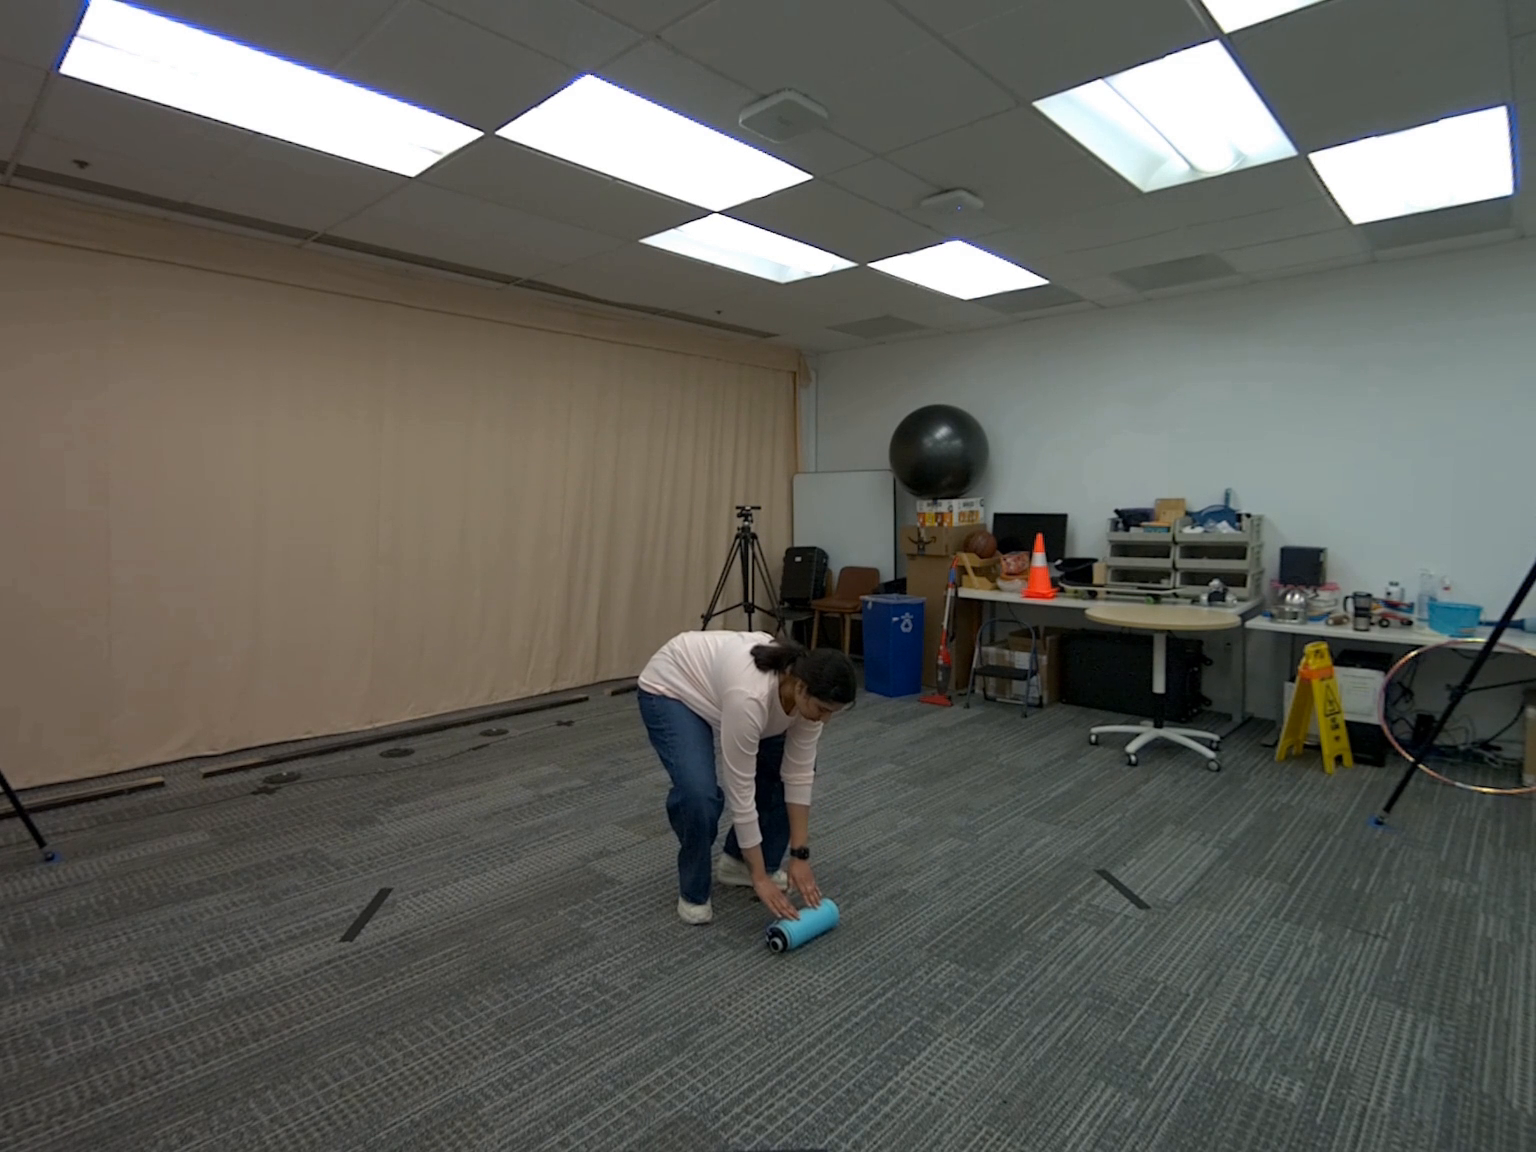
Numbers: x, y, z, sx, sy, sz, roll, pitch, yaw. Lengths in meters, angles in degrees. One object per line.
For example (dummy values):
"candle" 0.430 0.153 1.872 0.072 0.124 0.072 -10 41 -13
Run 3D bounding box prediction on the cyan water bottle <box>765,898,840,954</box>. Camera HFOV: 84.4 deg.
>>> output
"cyan water bottle" 0.112 1.120 2.700 0.275 0.092 0.095 -7 7 -43
